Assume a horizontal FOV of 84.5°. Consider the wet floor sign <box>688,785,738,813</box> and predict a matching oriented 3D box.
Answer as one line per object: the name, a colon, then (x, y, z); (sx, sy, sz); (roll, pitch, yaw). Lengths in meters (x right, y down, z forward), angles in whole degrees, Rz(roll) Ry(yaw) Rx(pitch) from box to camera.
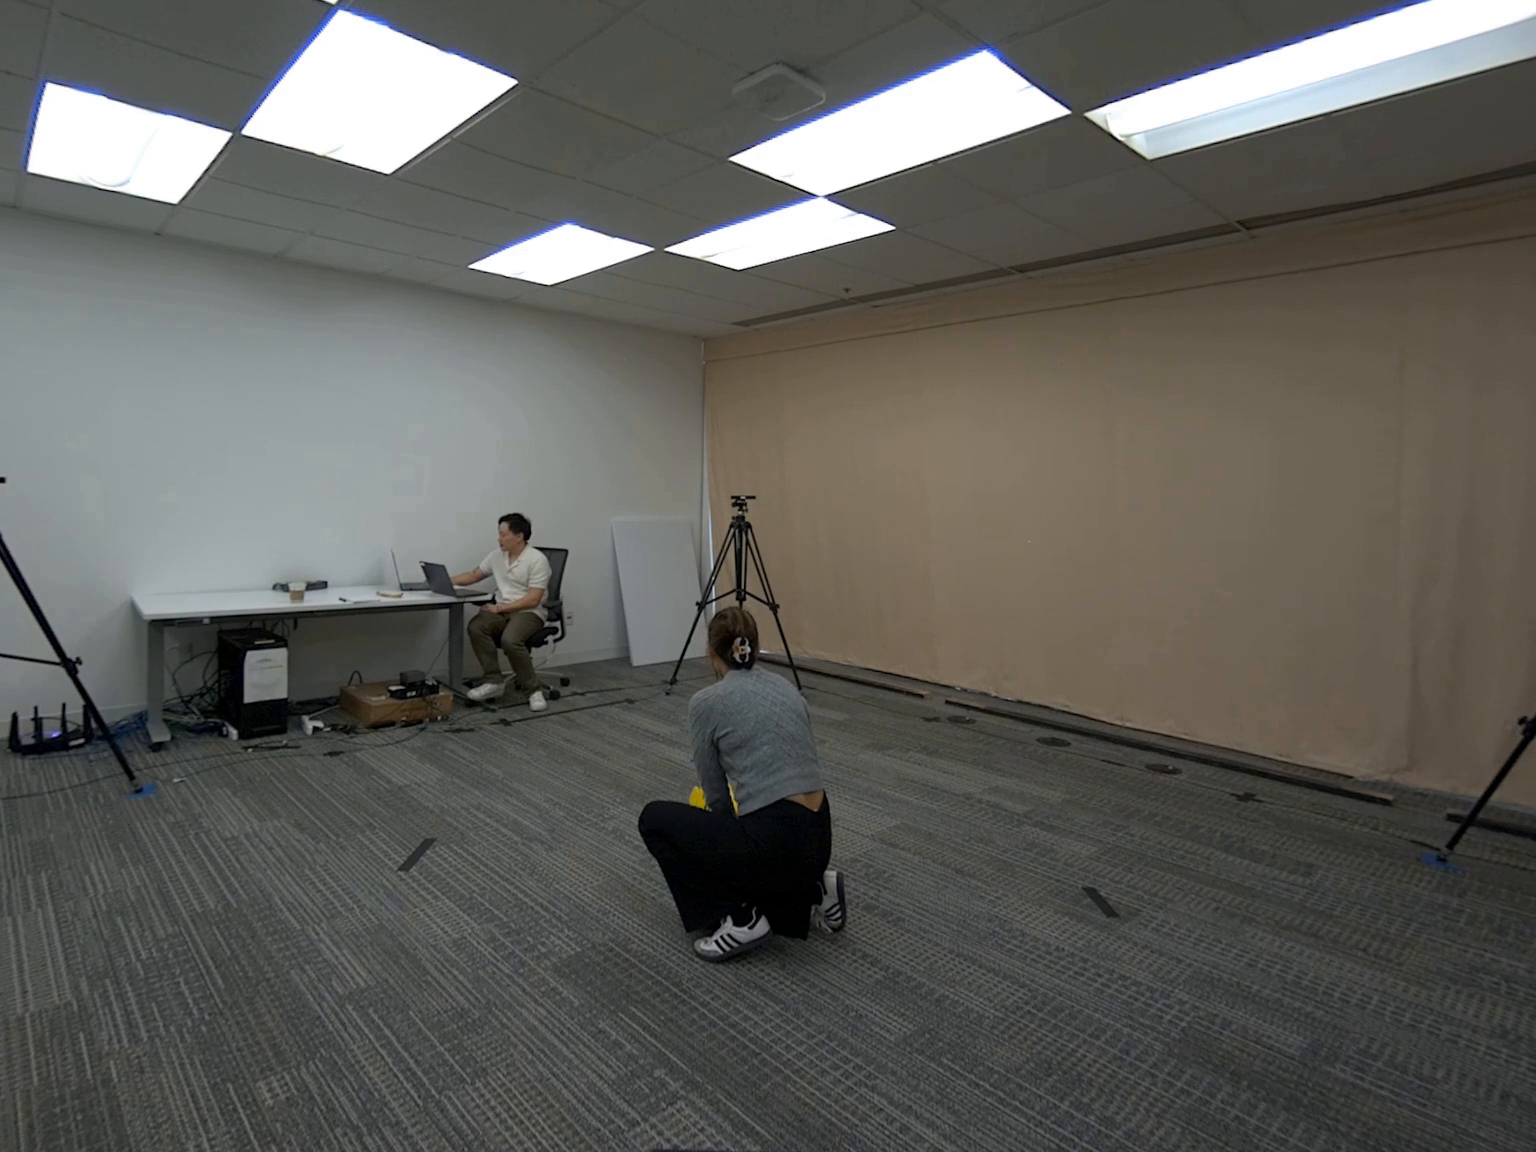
wet floor sign: (-0.139, 0.955, 3.269); (0.288, 0.281, 0.653); (19, 10, -7)
